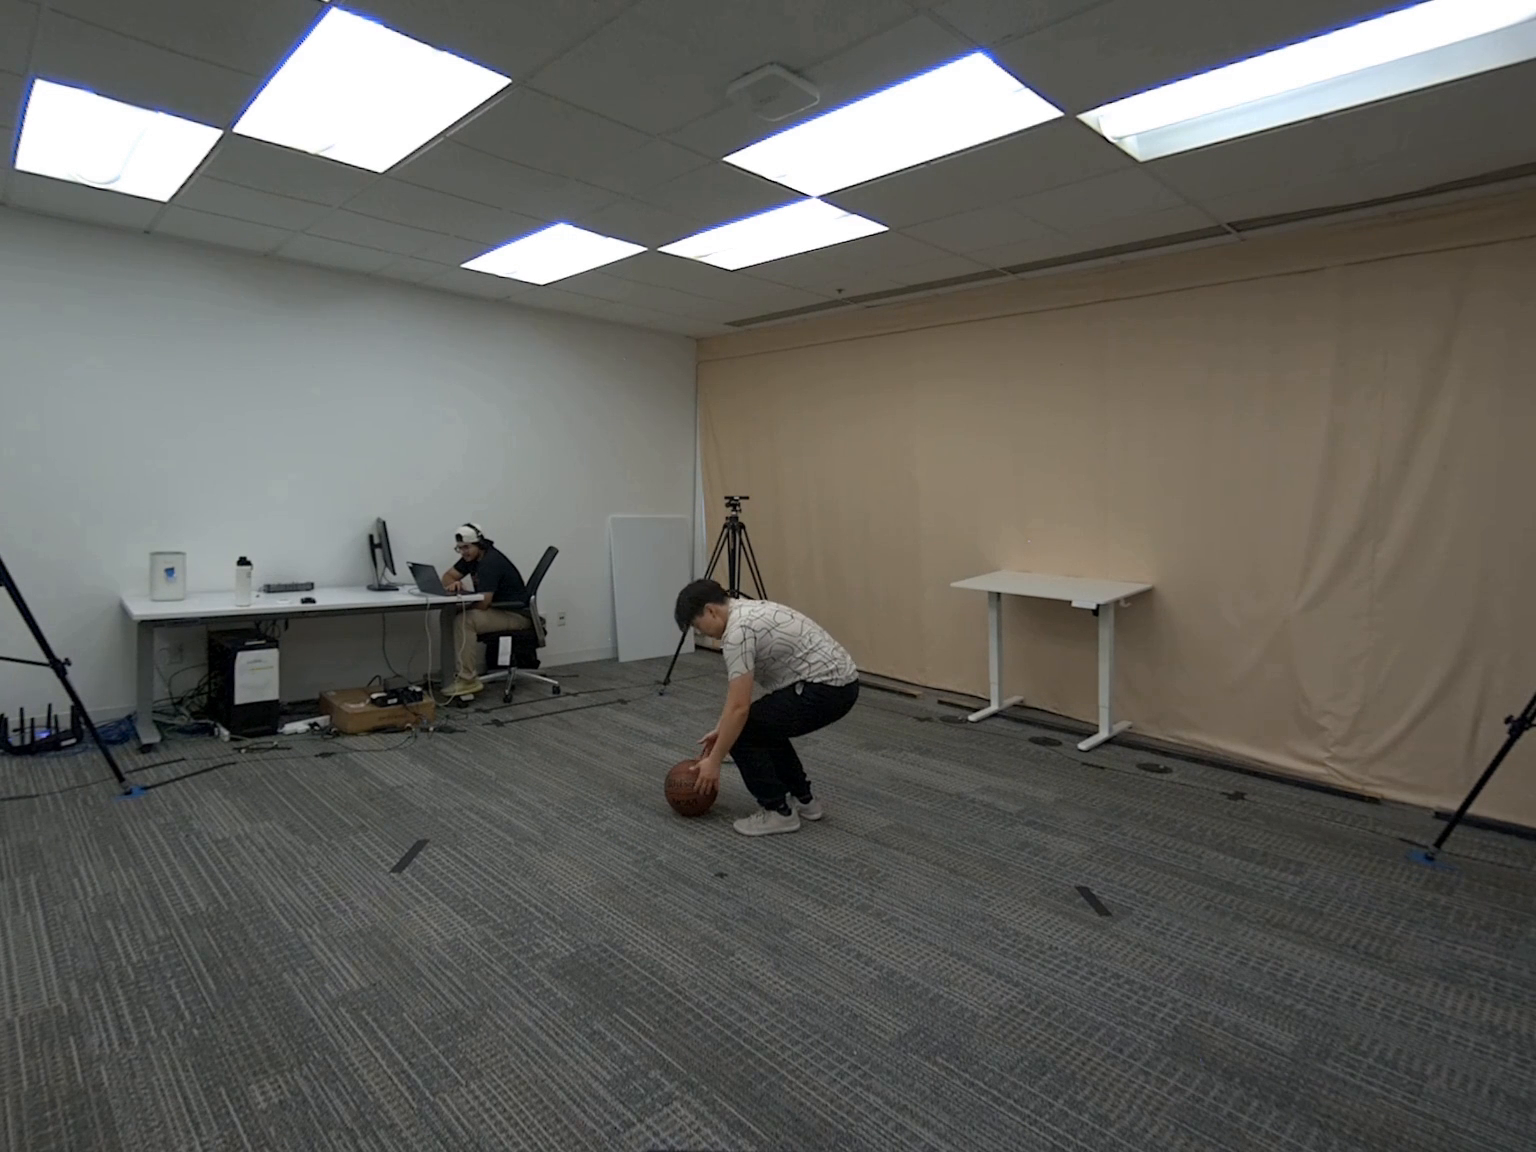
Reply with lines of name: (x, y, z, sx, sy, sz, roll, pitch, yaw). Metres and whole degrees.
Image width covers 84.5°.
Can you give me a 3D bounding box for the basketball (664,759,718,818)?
basketball: (-0.347, 0.921, 3.694, 0.236, 0.235, 0.237, 1, 4, -1)
